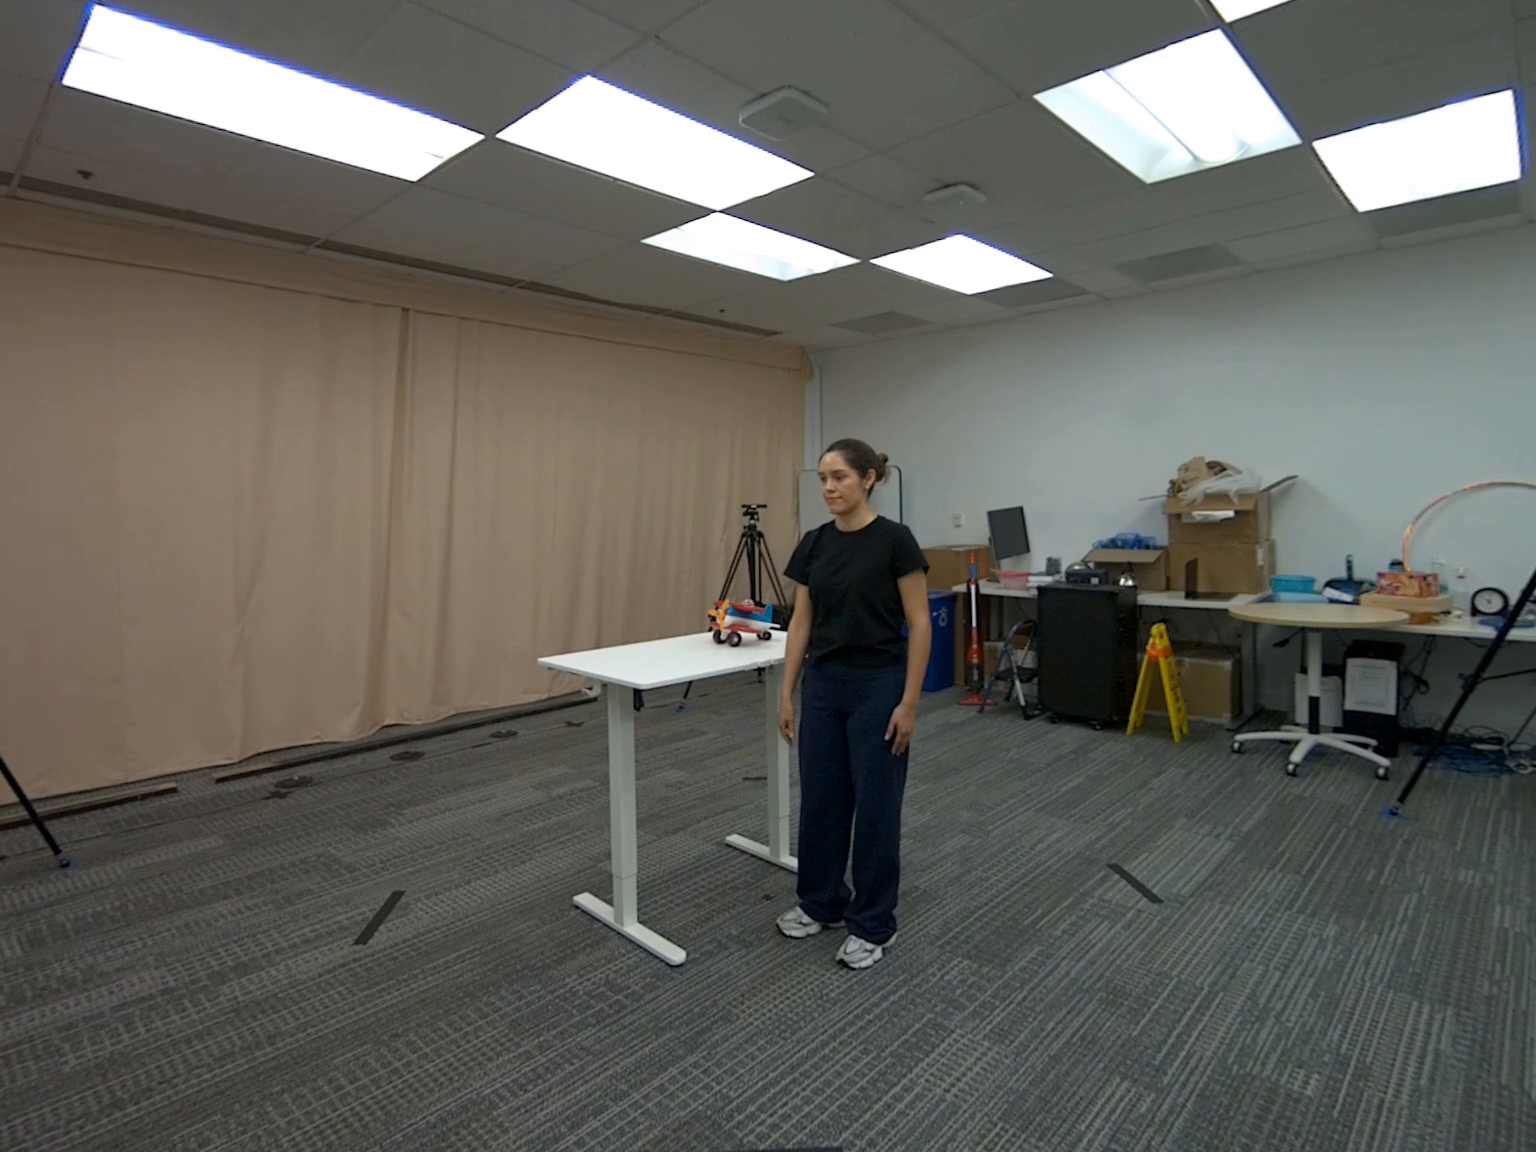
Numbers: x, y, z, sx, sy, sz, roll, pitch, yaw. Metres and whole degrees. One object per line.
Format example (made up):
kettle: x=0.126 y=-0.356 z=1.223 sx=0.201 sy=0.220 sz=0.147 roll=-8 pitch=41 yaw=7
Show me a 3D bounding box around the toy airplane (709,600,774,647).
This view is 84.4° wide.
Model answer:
toy airplane: x=-0.083 y=0.169 z=3.141 sx=0.257 sy=0.156 sz=0.254 roll=2 pitch=6 yaw=22
